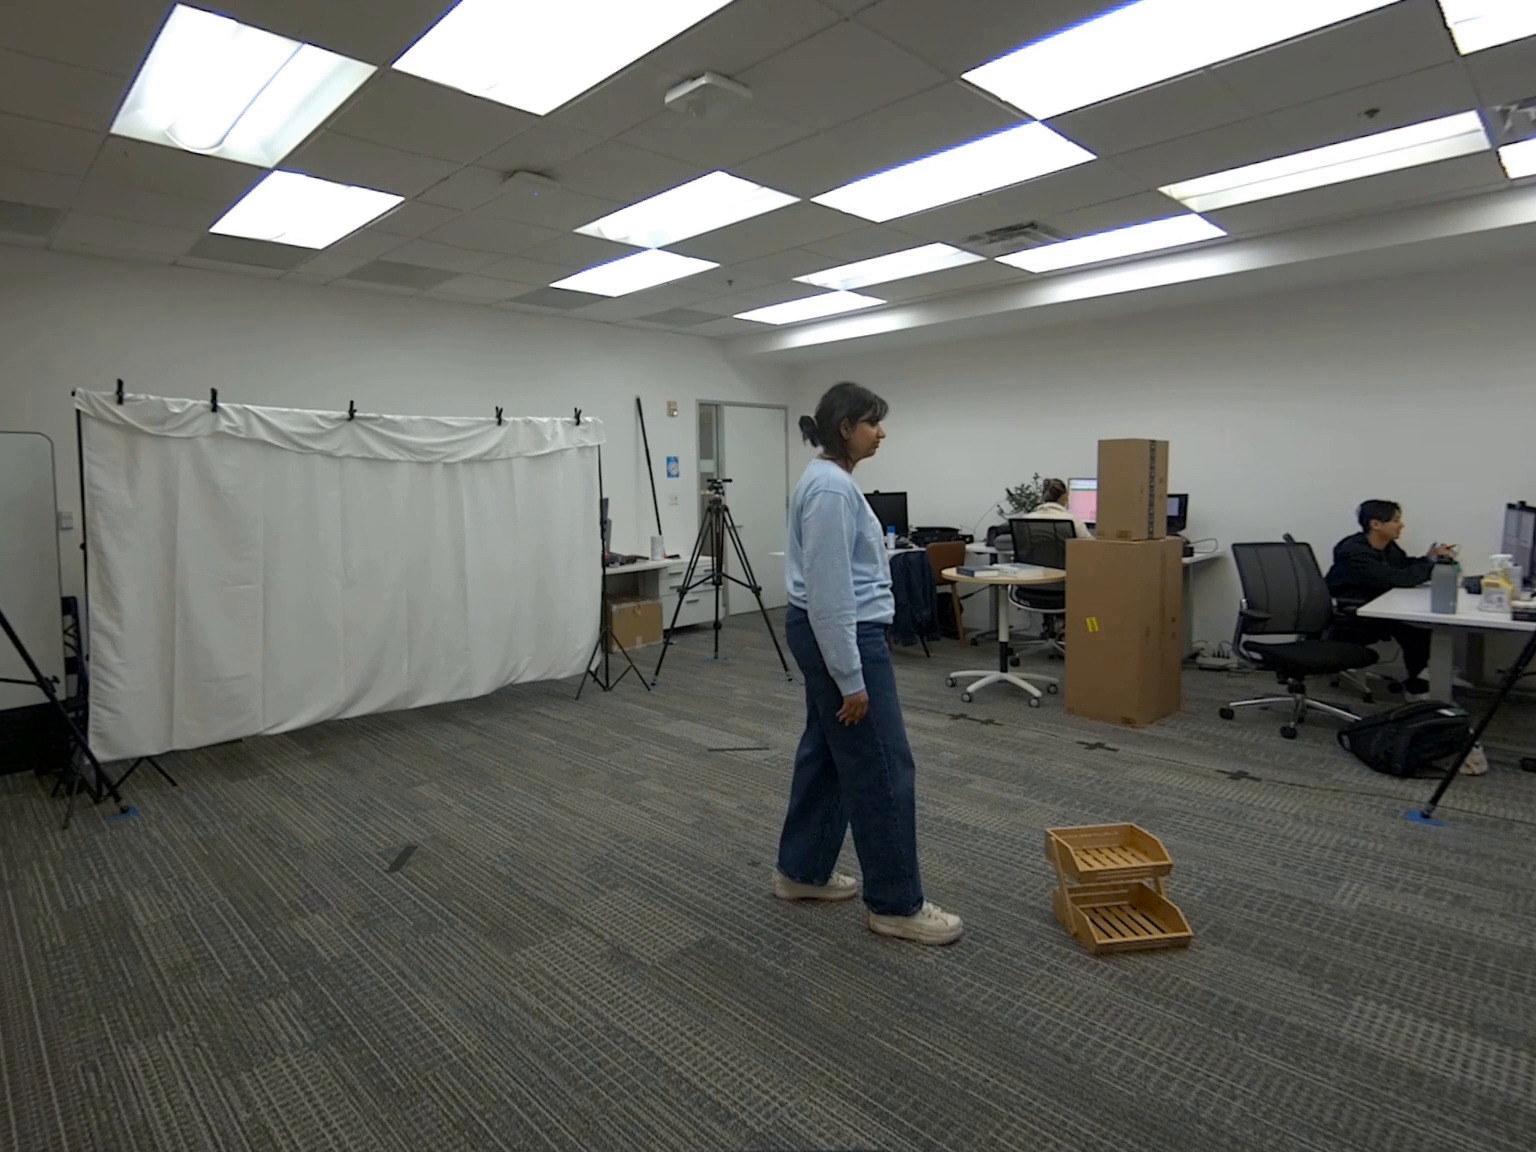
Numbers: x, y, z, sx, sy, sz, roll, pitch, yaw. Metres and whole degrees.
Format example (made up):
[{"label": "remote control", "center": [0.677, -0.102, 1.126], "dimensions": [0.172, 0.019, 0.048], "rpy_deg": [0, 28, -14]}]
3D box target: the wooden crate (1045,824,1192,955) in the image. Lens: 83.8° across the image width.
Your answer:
[{"label": "wooden crate", "center": [1.069, 0.946, 2.607], "dimensions": [0.322, 0.272, 0.306], "rpy_deg": [-2, 5, -9]}]
